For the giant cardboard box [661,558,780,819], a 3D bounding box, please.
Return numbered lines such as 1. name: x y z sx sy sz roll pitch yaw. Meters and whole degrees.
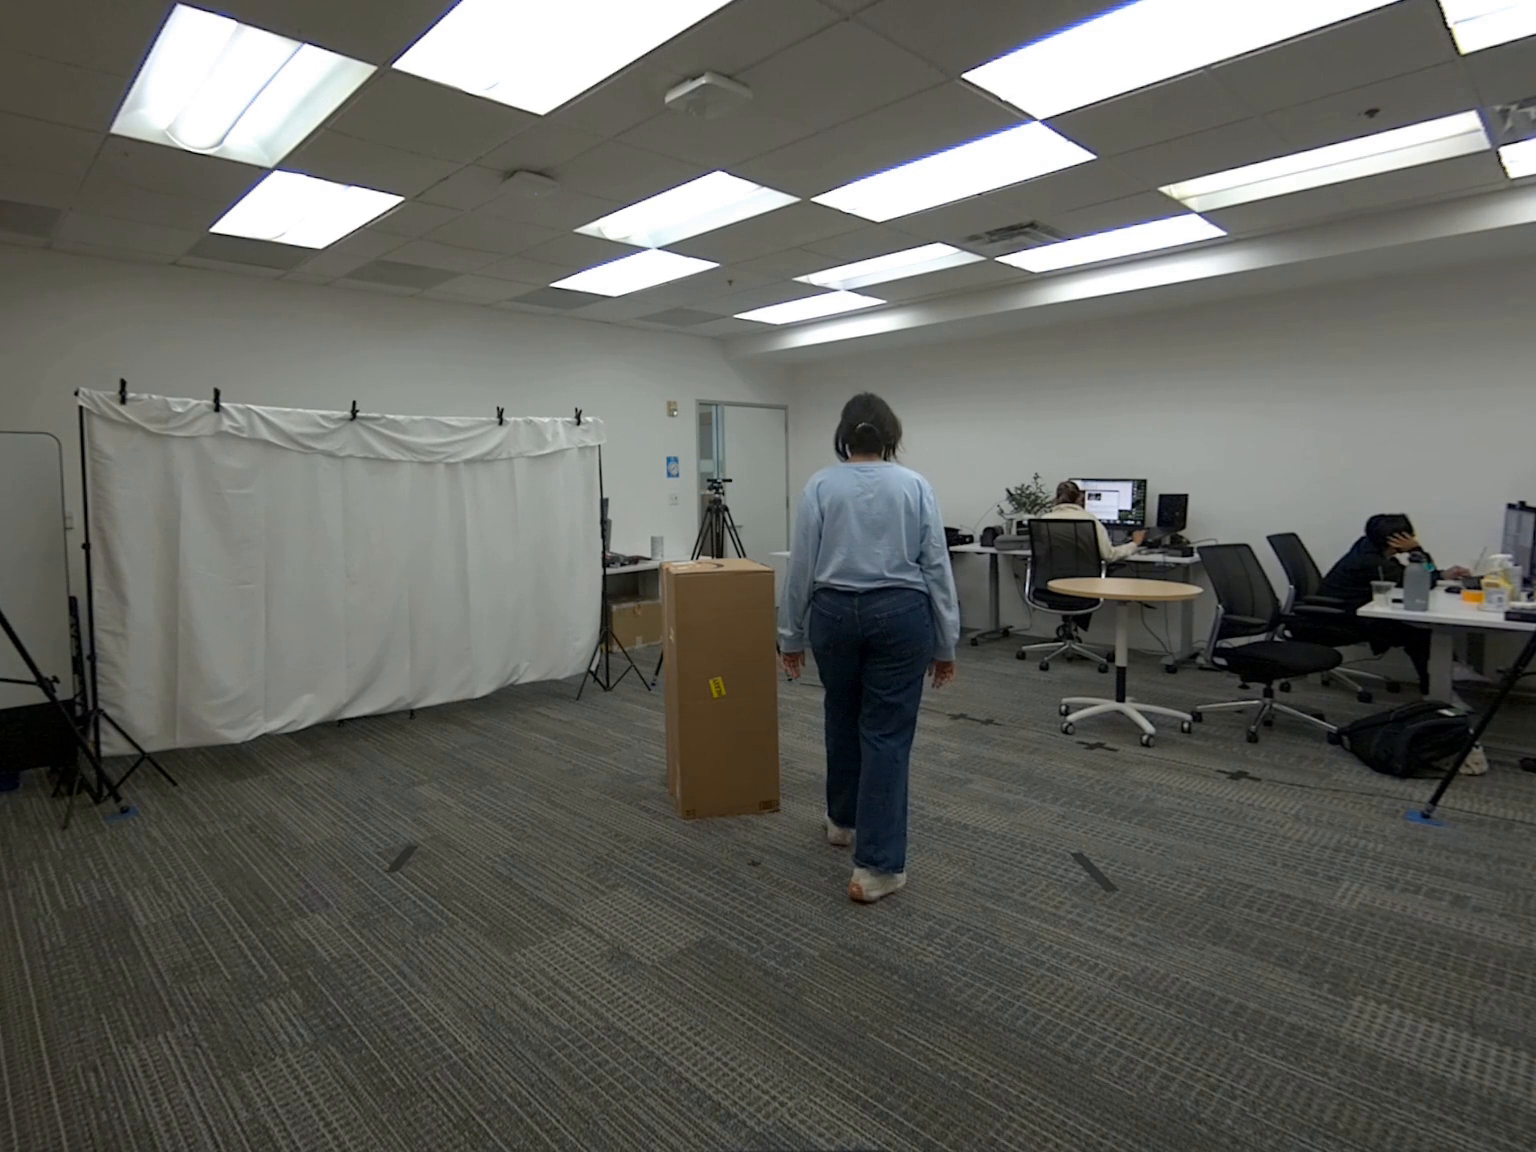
1. giant cardboard box: -0.232 0.461 3.808 0.421 1.023 0.586 -2 4 -13
